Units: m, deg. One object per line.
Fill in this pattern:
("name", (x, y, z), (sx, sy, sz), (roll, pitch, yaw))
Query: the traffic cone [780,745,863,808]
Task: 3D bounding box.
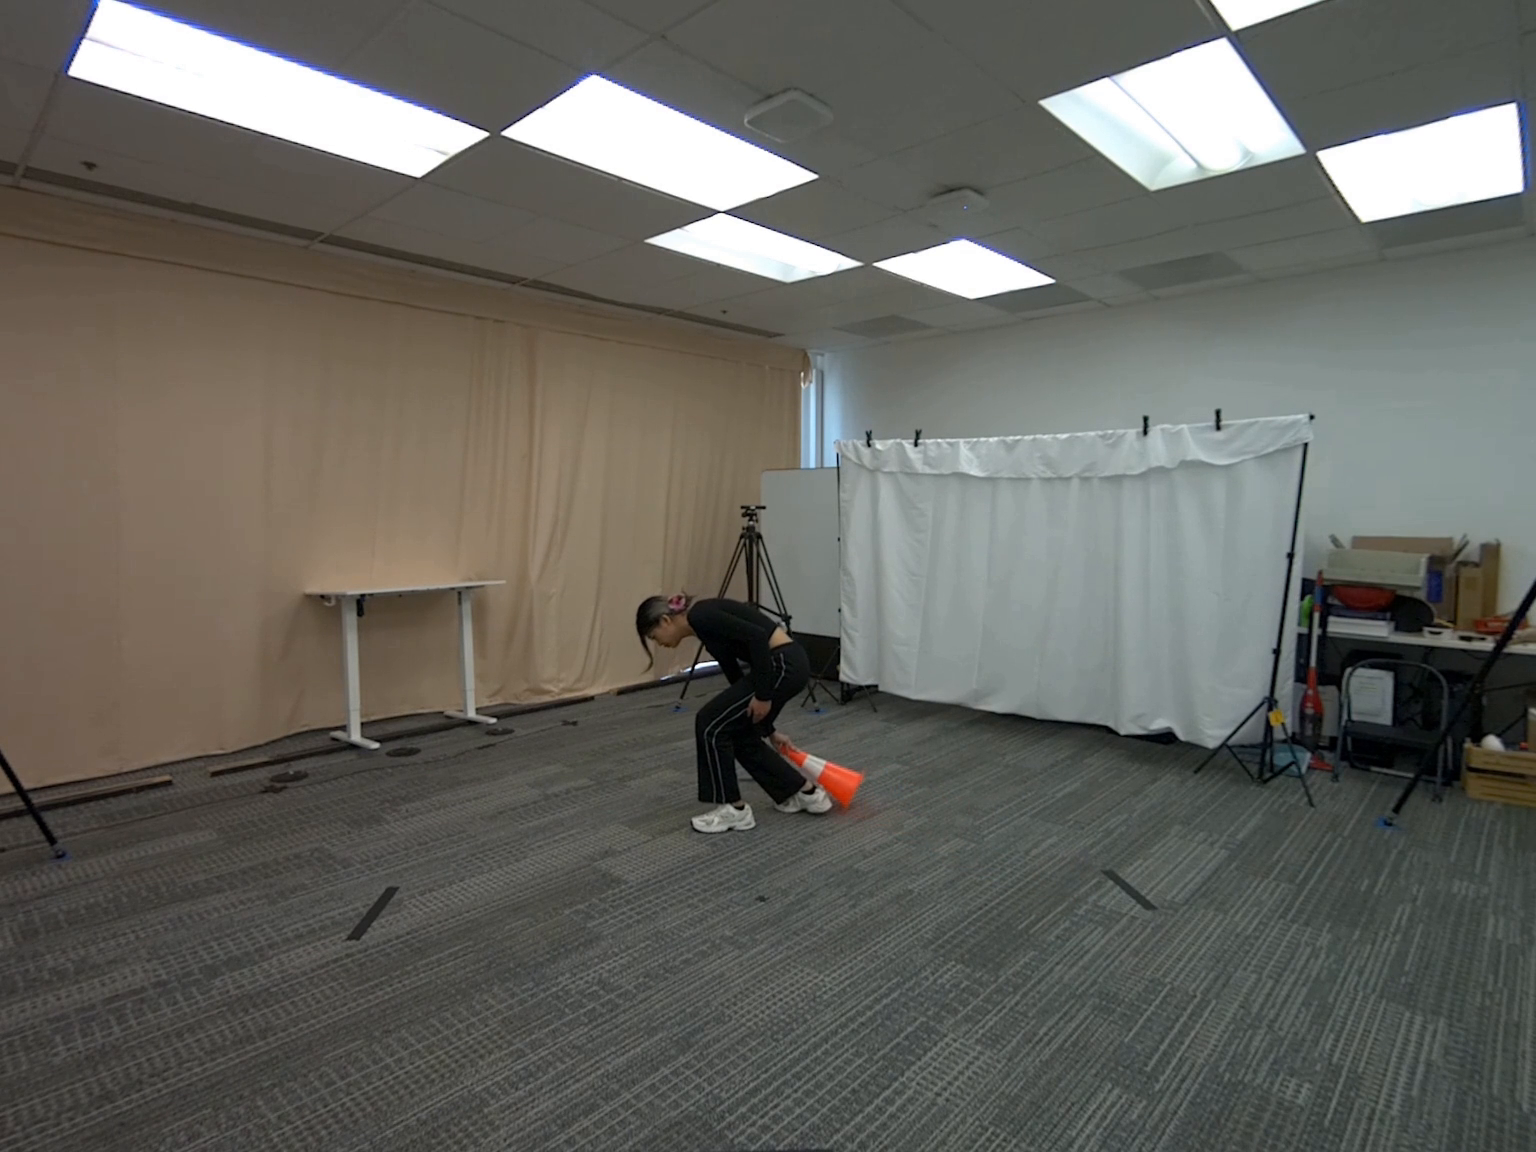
("traffic cone", (0.231, 0.897, 3.906), (0.390, 0.203, 0.202), (30, 16, 12))
